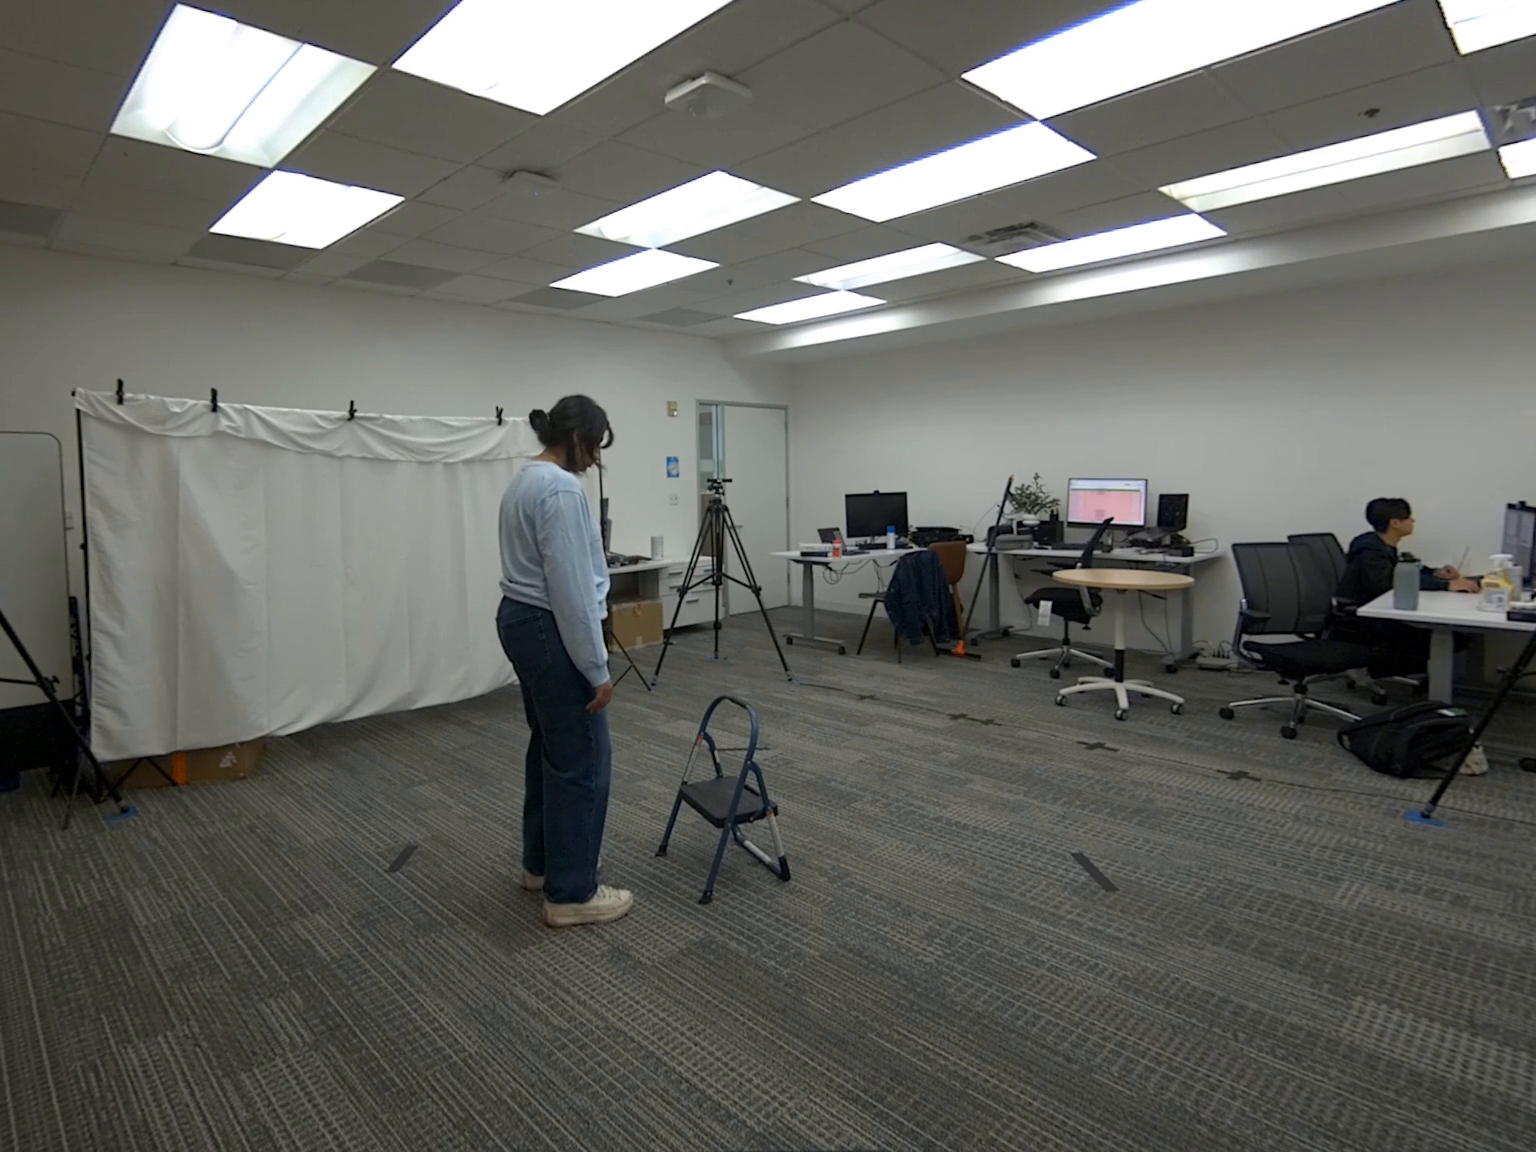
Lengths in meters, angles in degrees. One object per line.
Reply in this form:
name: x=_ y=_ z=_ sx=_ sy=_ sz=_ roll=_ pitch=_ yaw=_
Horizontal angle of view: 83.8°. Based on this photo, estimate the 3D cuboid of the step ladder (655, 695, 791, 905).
step ladder: x=-0.168 y=0.751 z=3.061 sx=0.341 sy=0.604 sz=0.442 roll=-3 pitch=5 yaw=-28
